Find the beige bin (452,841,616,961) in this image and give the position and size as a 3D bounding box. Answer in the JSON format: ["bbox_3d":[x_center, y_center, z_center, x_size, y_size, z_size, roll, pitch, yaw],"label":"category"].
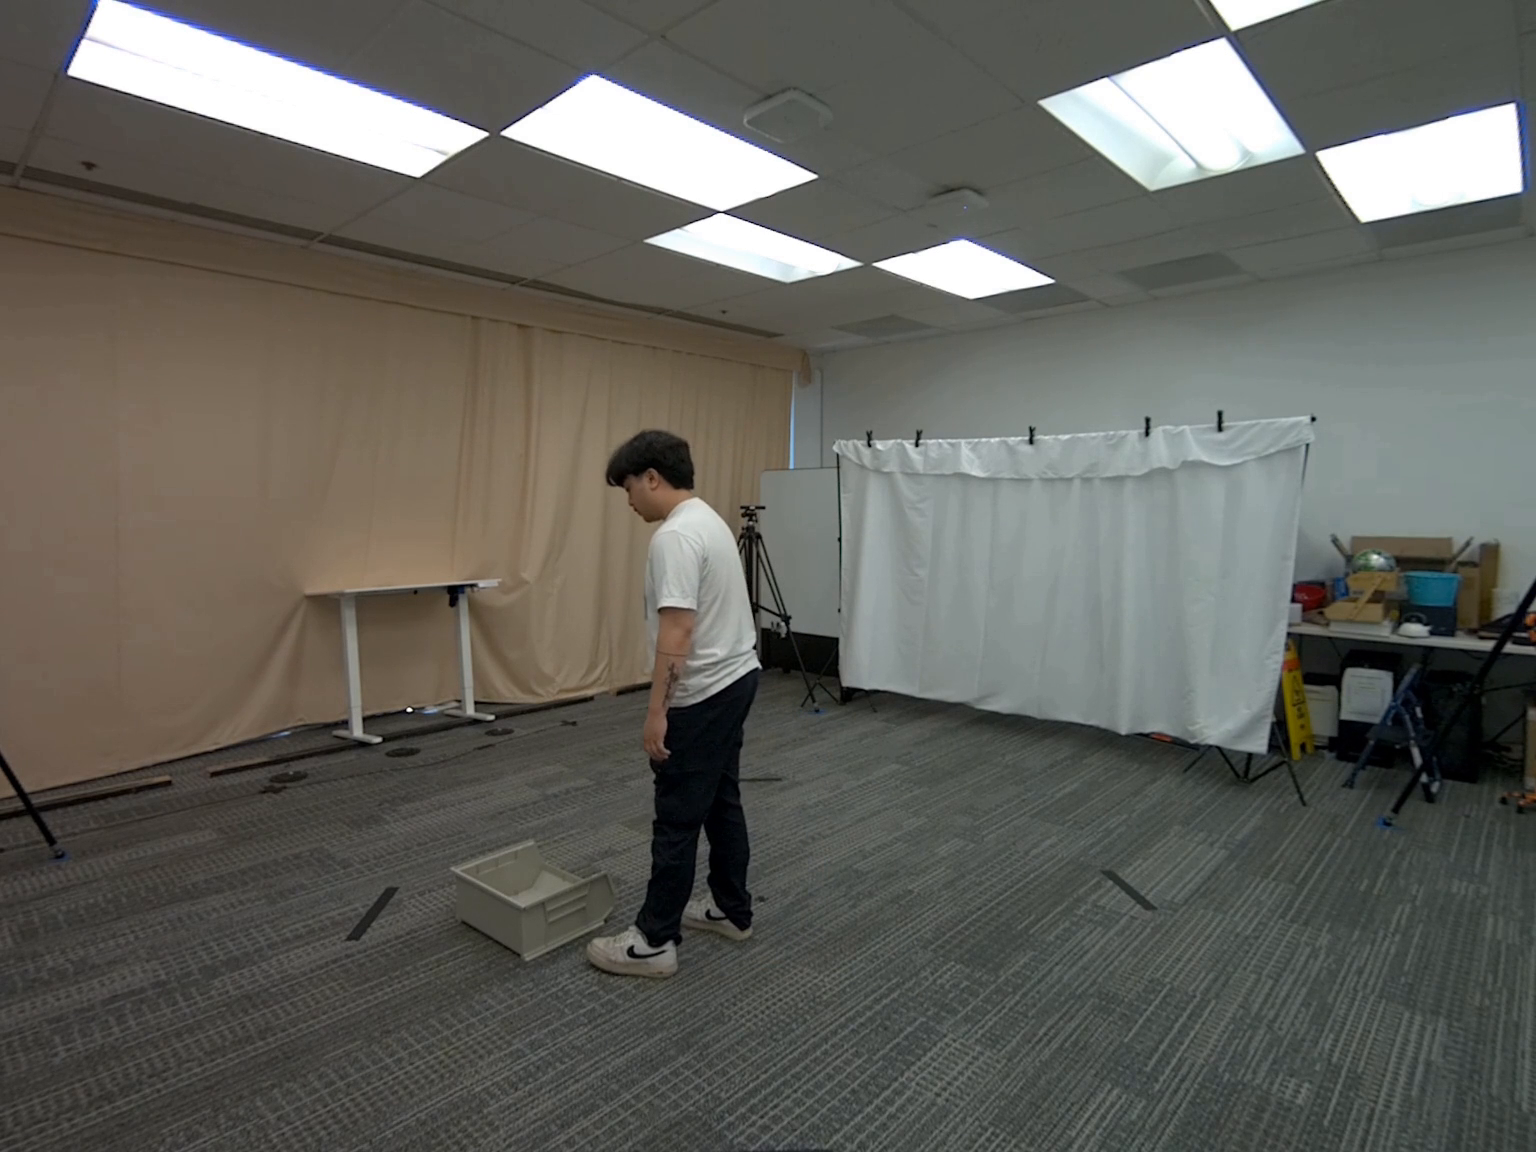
[{"bbox_3d":[-0.793,1.078,2.838,0.436,0.188,0.366,4,7,39],"label":"beige bin"}]
